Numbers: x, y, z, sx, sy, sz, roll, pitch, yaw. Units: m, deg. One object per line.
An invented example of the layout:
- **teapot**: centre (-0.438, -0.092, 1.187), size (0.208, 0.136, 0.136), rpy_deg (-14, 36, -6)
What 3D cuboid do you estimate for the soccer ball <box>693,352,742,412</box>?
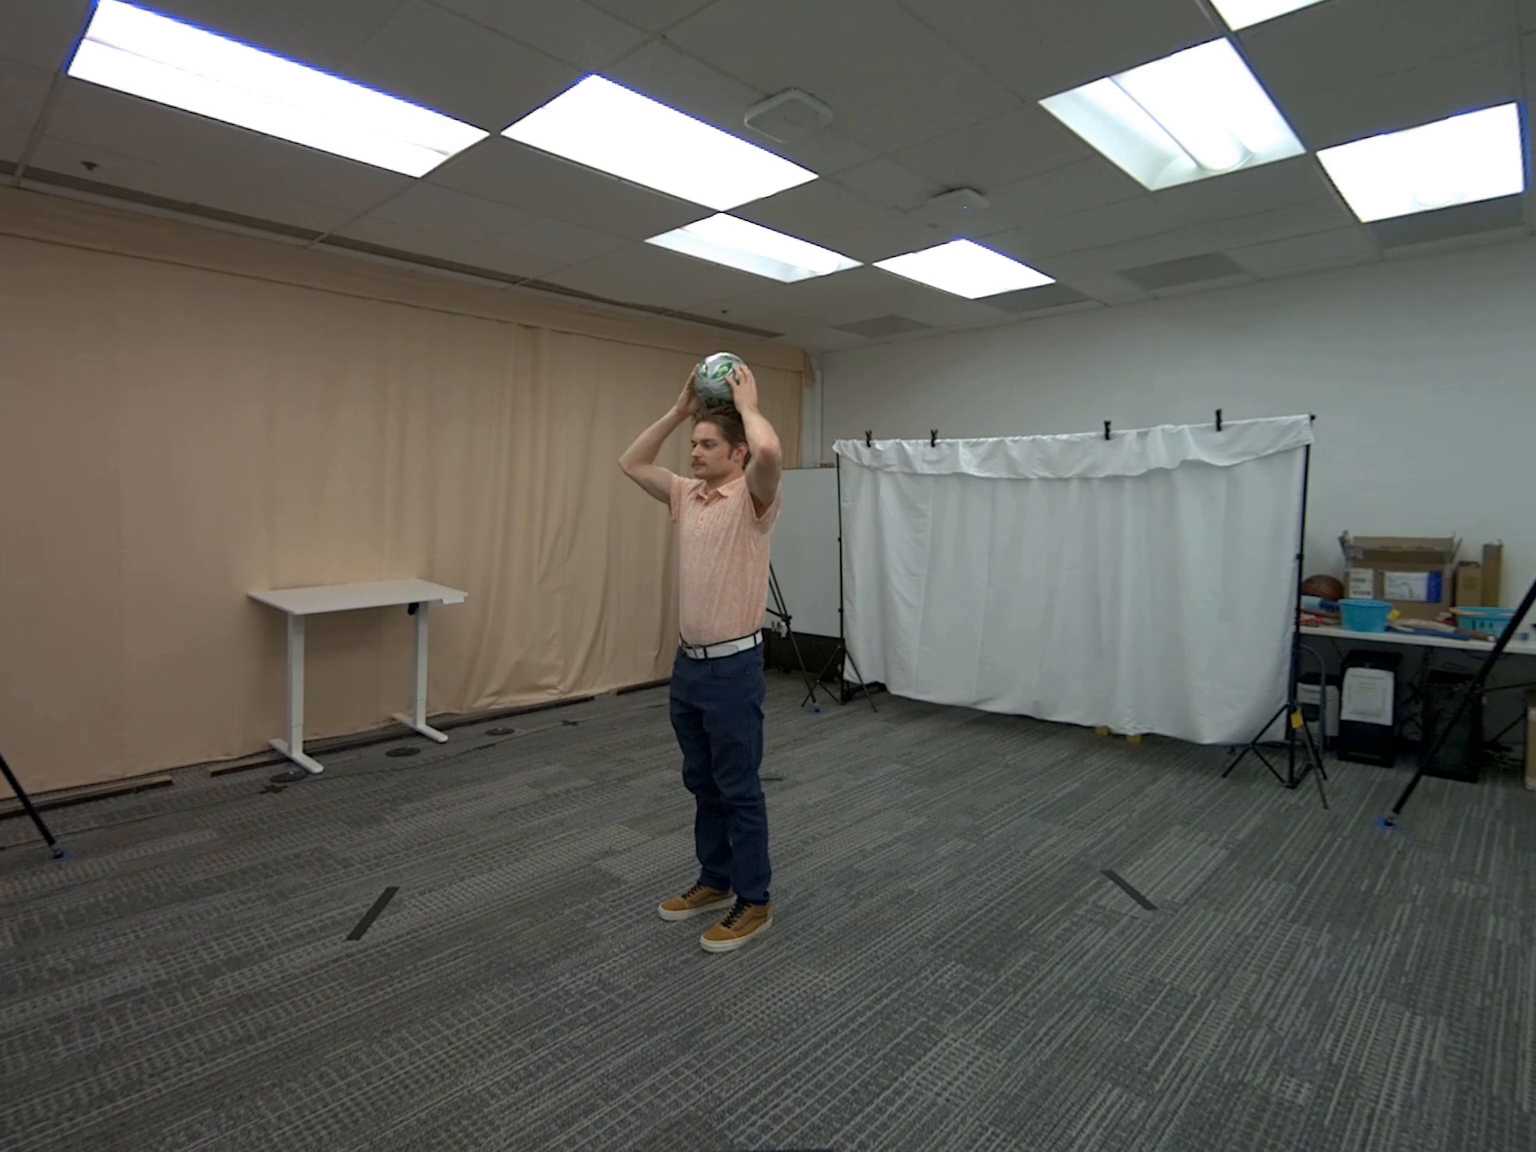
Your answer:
- **soccer ball**: centre (-0.140, -0.628, 2.753), size (0.187, 0.187, 0.188), rpy_deg (0, 4, -2)
